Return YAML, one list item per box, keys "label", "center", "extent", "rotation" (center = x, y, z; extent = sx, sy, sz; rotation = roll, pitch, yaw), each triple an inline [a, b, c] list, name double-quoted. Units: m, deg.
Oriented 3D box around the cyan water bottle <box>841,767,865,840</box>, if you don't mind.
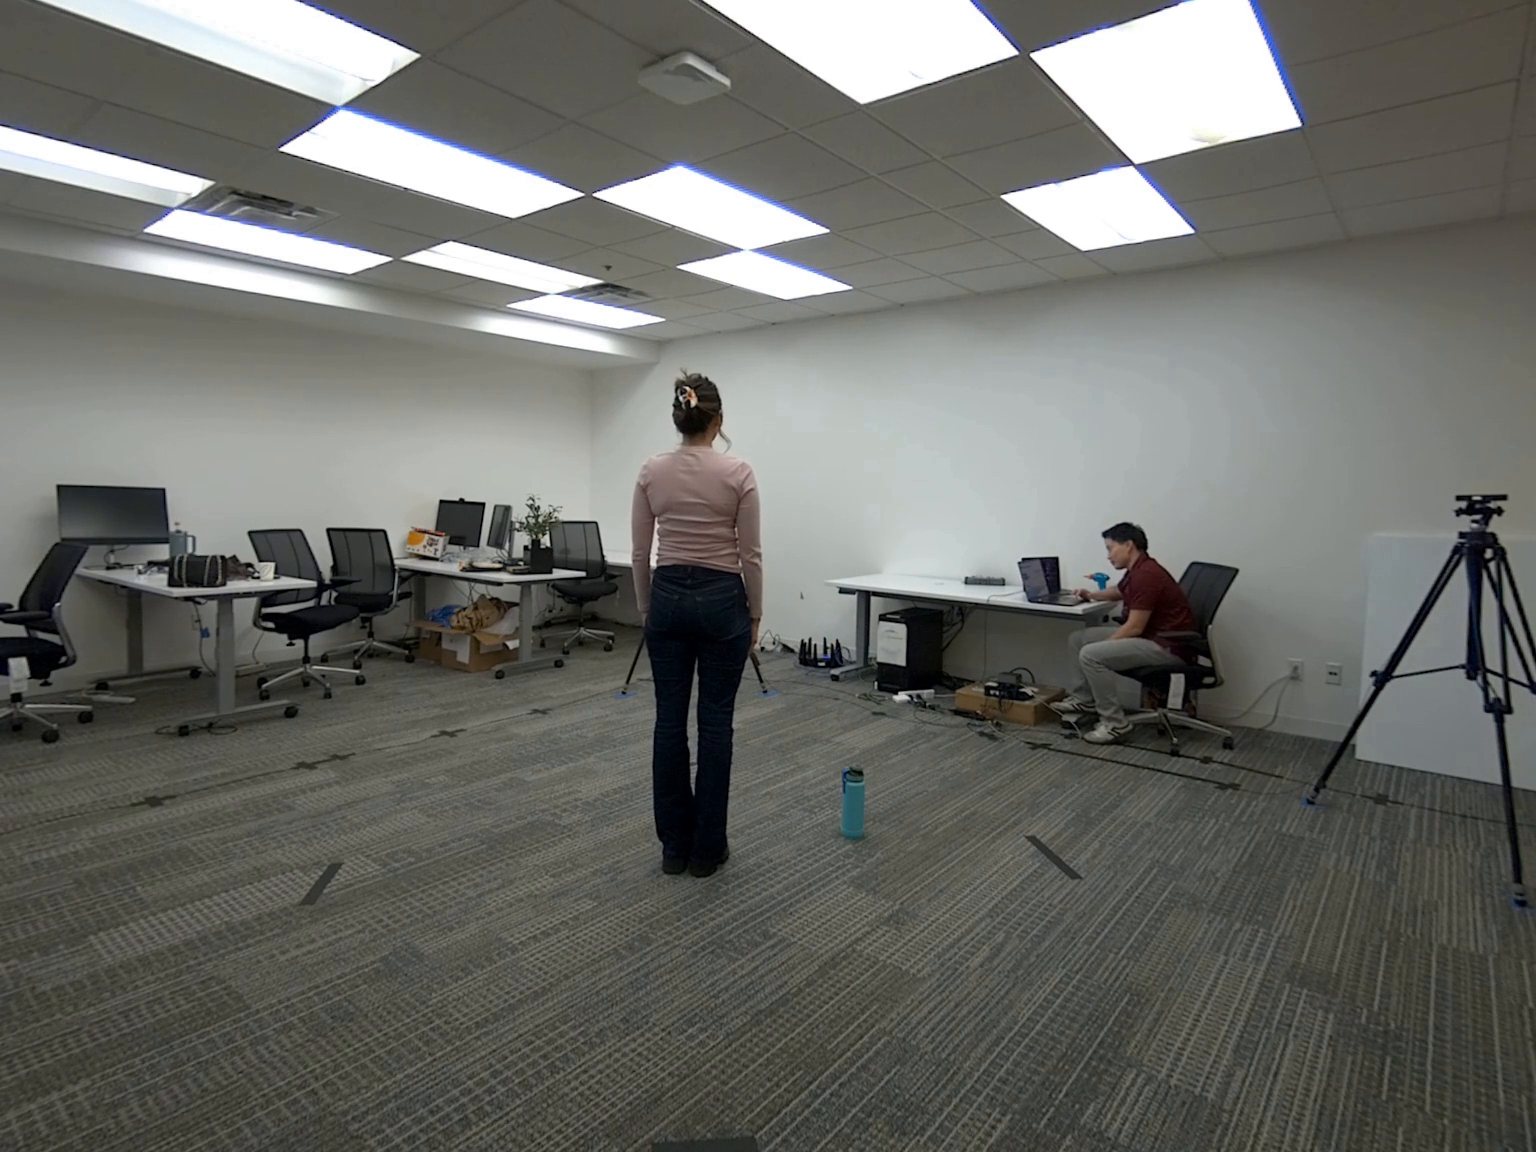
- label: "cyan water bottle"
  center: [0.334, 0.902, 3.435]
  extent: [0.092, 0.282, 0.093]
  rotation: [0, 4, -2]
